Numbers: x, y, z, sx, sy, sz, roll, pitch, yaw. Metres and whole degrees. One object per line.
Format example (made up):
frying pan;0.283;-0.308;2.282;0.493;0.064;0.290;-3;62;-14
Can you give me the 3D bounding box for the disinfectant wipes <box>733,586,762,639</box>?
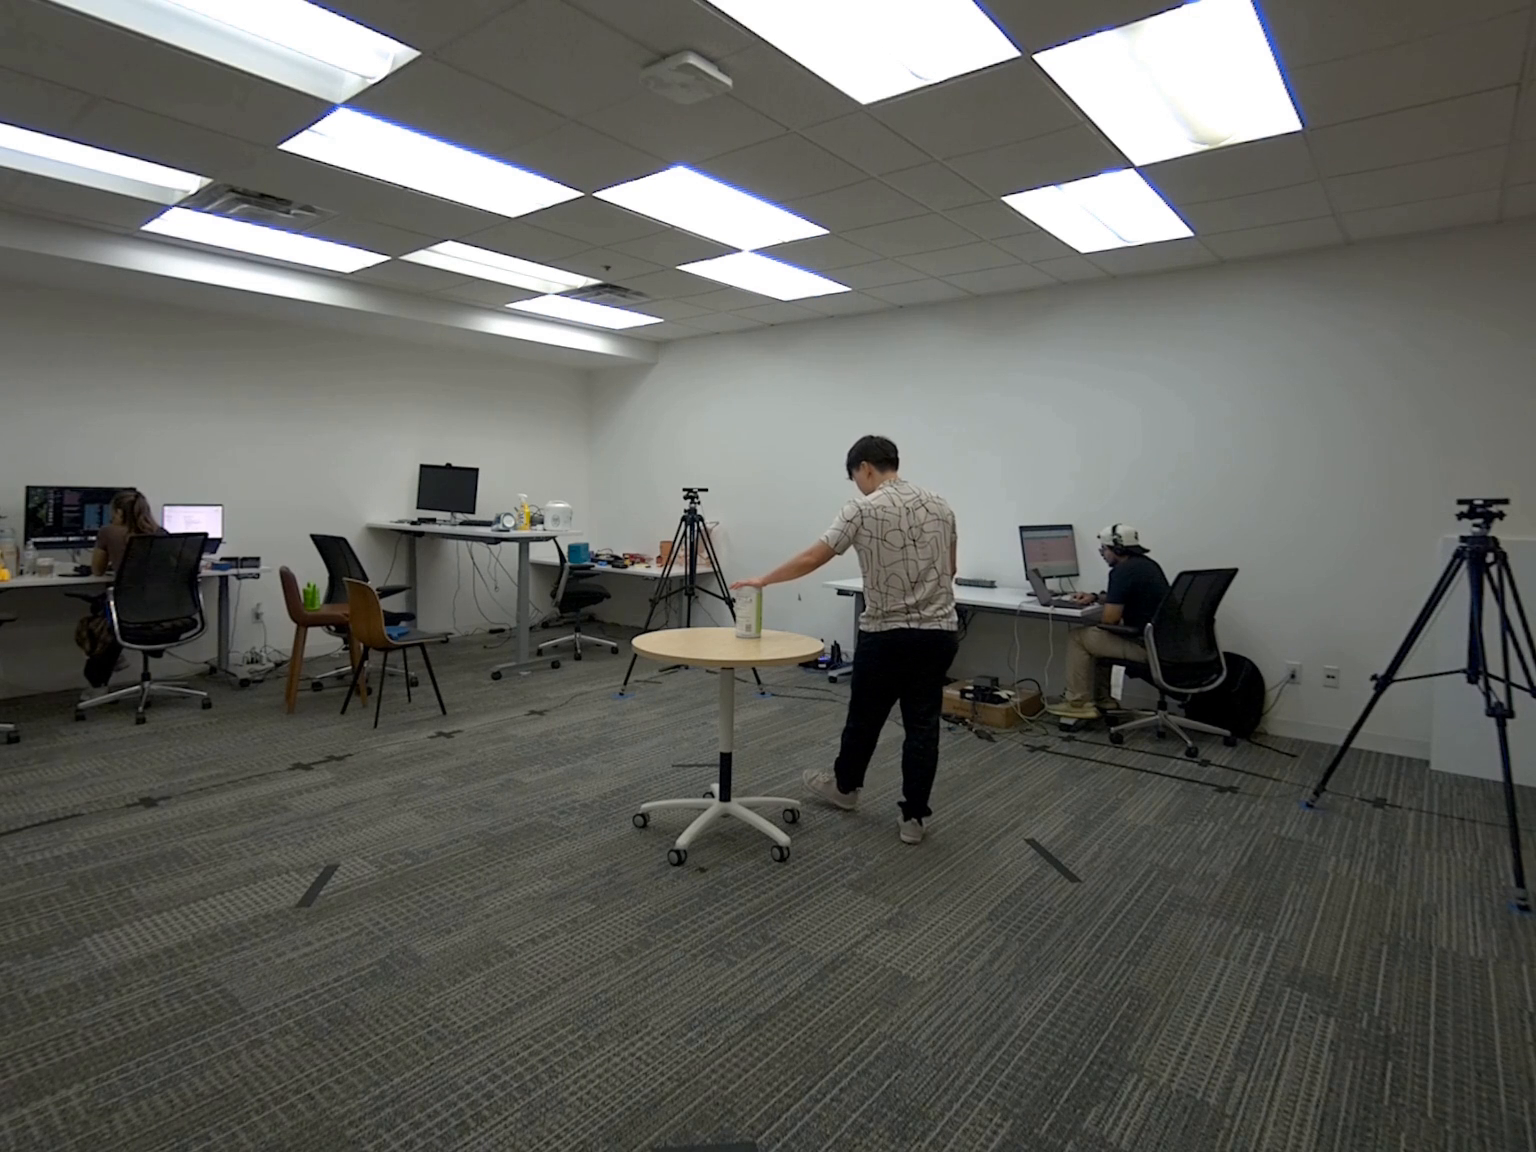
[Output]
disinfectant wipes;-0.087;0.146;3.556;0.118;0.217;0.118;3;0;-2
